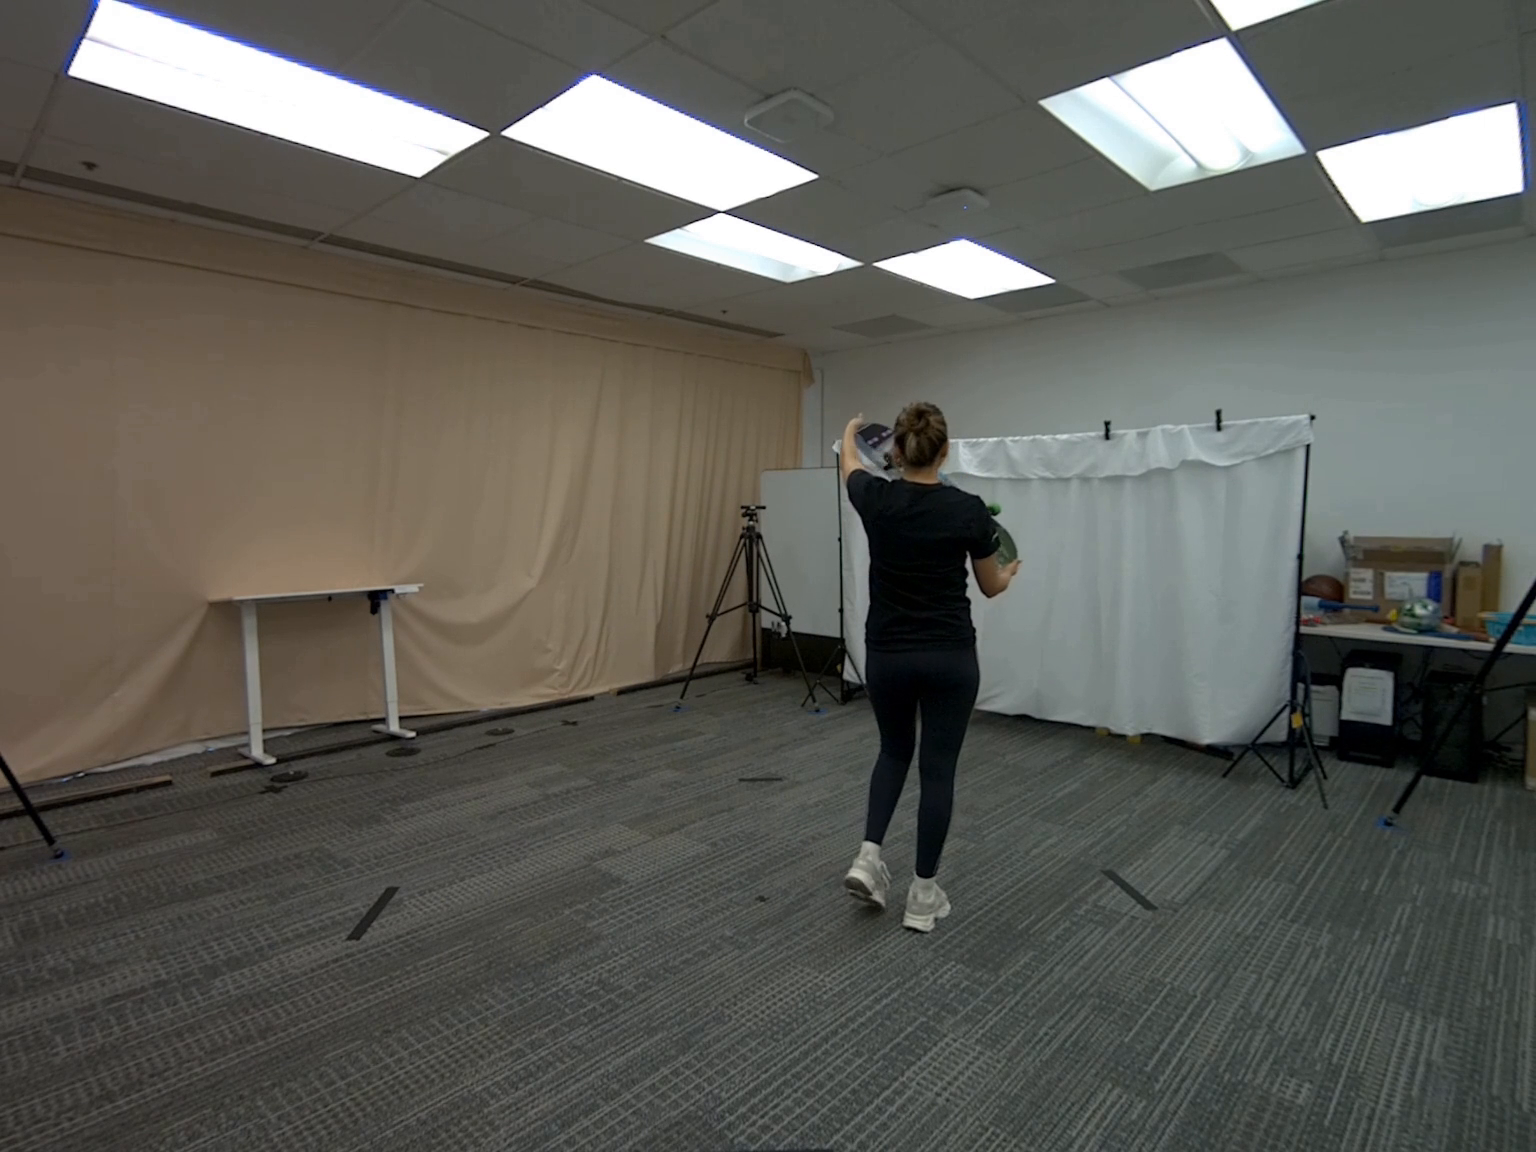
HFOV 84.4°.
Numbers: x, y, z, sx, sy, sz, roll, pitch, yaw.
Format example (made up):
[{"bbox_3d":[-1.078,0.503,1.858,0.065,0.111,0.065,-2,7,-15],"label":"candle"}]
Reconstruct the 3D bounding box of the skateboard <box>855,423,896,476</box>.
[{"bbox_3d":[0.655,-0.333,3.155,0.190,0.800,0.110,-31,-19,-30],"label":"skateboard"}]
